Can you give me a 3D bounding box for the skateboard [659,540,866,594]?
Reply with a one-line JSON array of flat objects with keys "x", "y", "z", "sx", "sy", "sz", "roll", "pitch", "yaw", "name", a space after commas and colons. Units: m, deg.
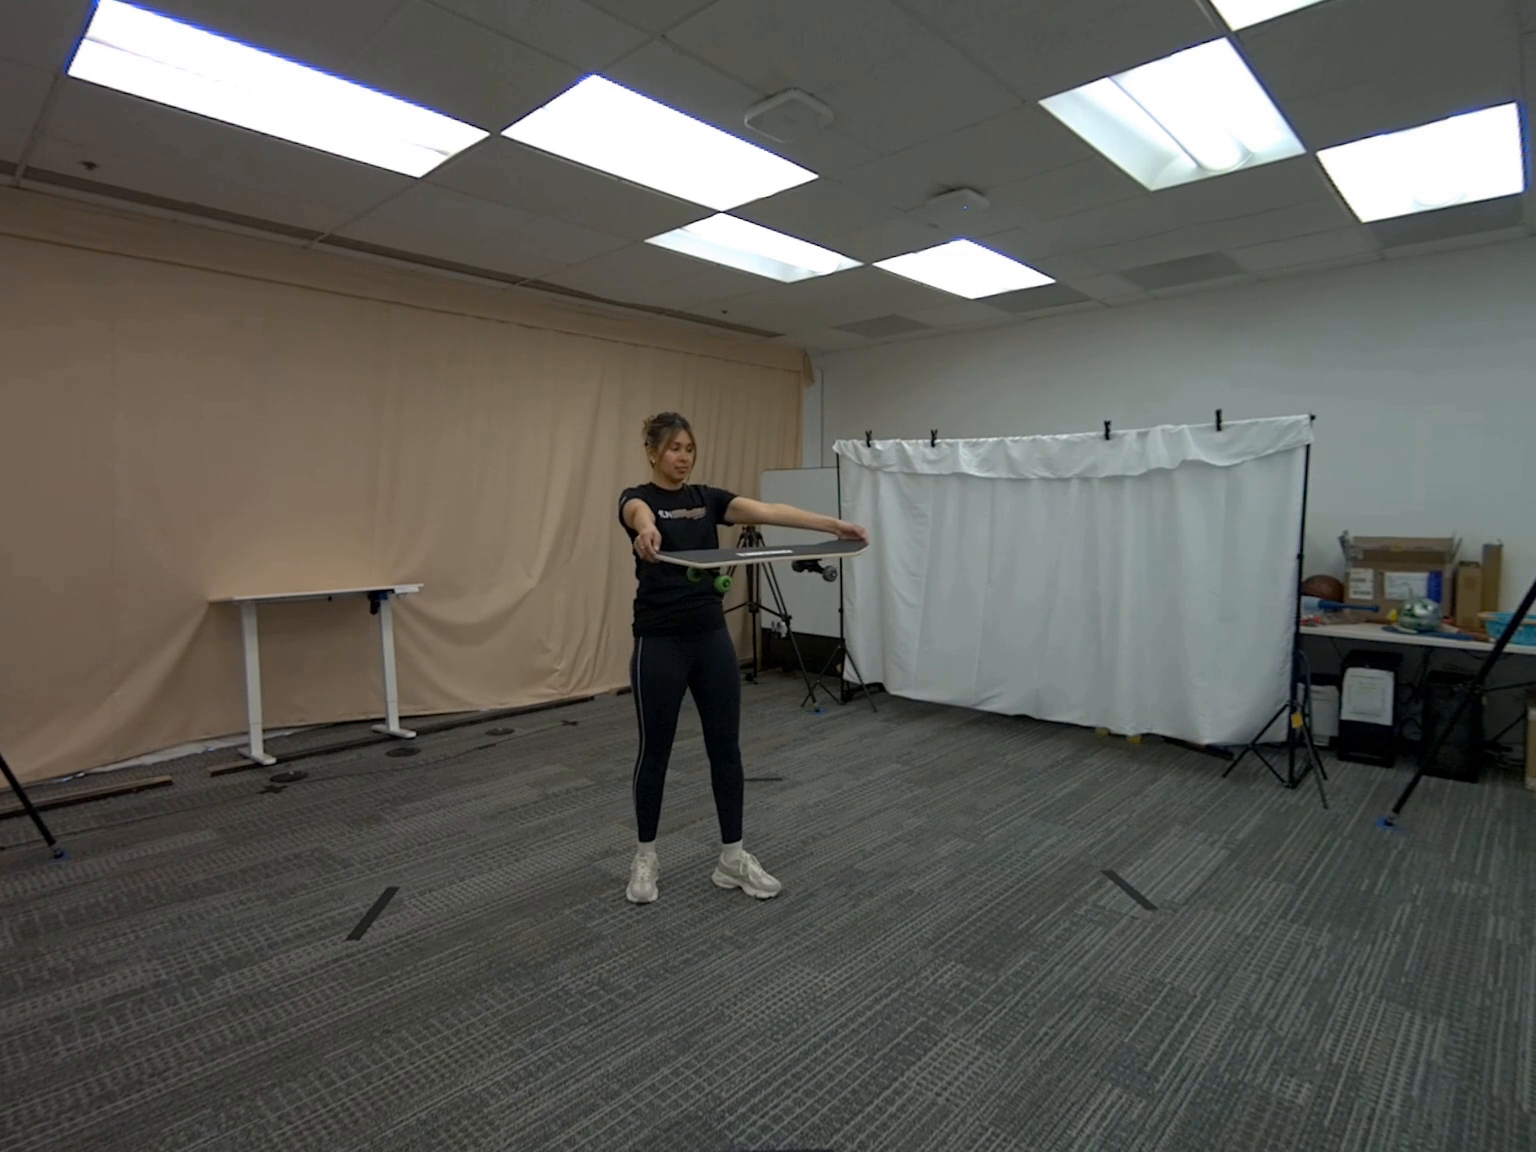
[{"x": -0.004, "y": -0.038, "z": 2.573, "sx": 0.764, "sy": 0.110, "sz": 0.200, "roll": -6, "pitch": 12, "yaw": -33, "name": "skateboard"}]
